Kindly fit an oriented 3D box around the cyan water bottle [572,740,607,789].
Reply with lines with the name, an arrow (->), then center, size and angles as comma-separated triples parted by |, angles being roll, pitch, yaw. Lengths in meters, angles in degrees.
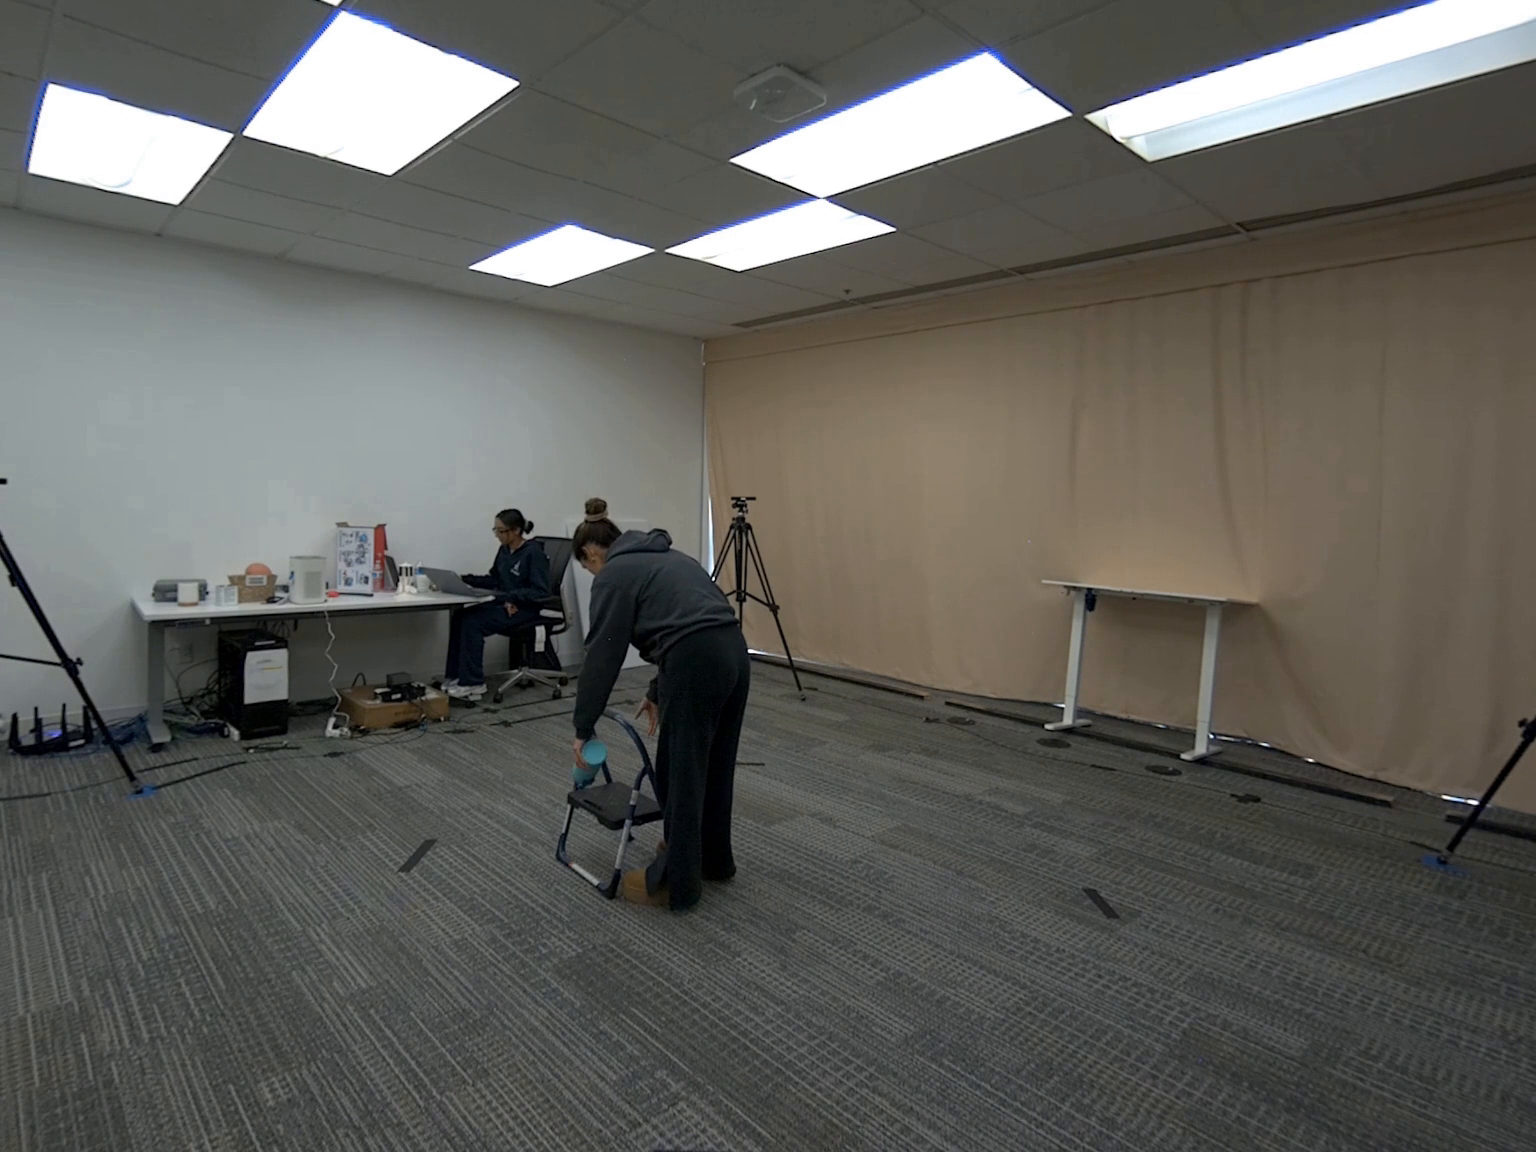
cyan water bottle -> -0.638, 0.652, 2.990 | 0.091, 0.094, 0.281 | 0, -30, -20
